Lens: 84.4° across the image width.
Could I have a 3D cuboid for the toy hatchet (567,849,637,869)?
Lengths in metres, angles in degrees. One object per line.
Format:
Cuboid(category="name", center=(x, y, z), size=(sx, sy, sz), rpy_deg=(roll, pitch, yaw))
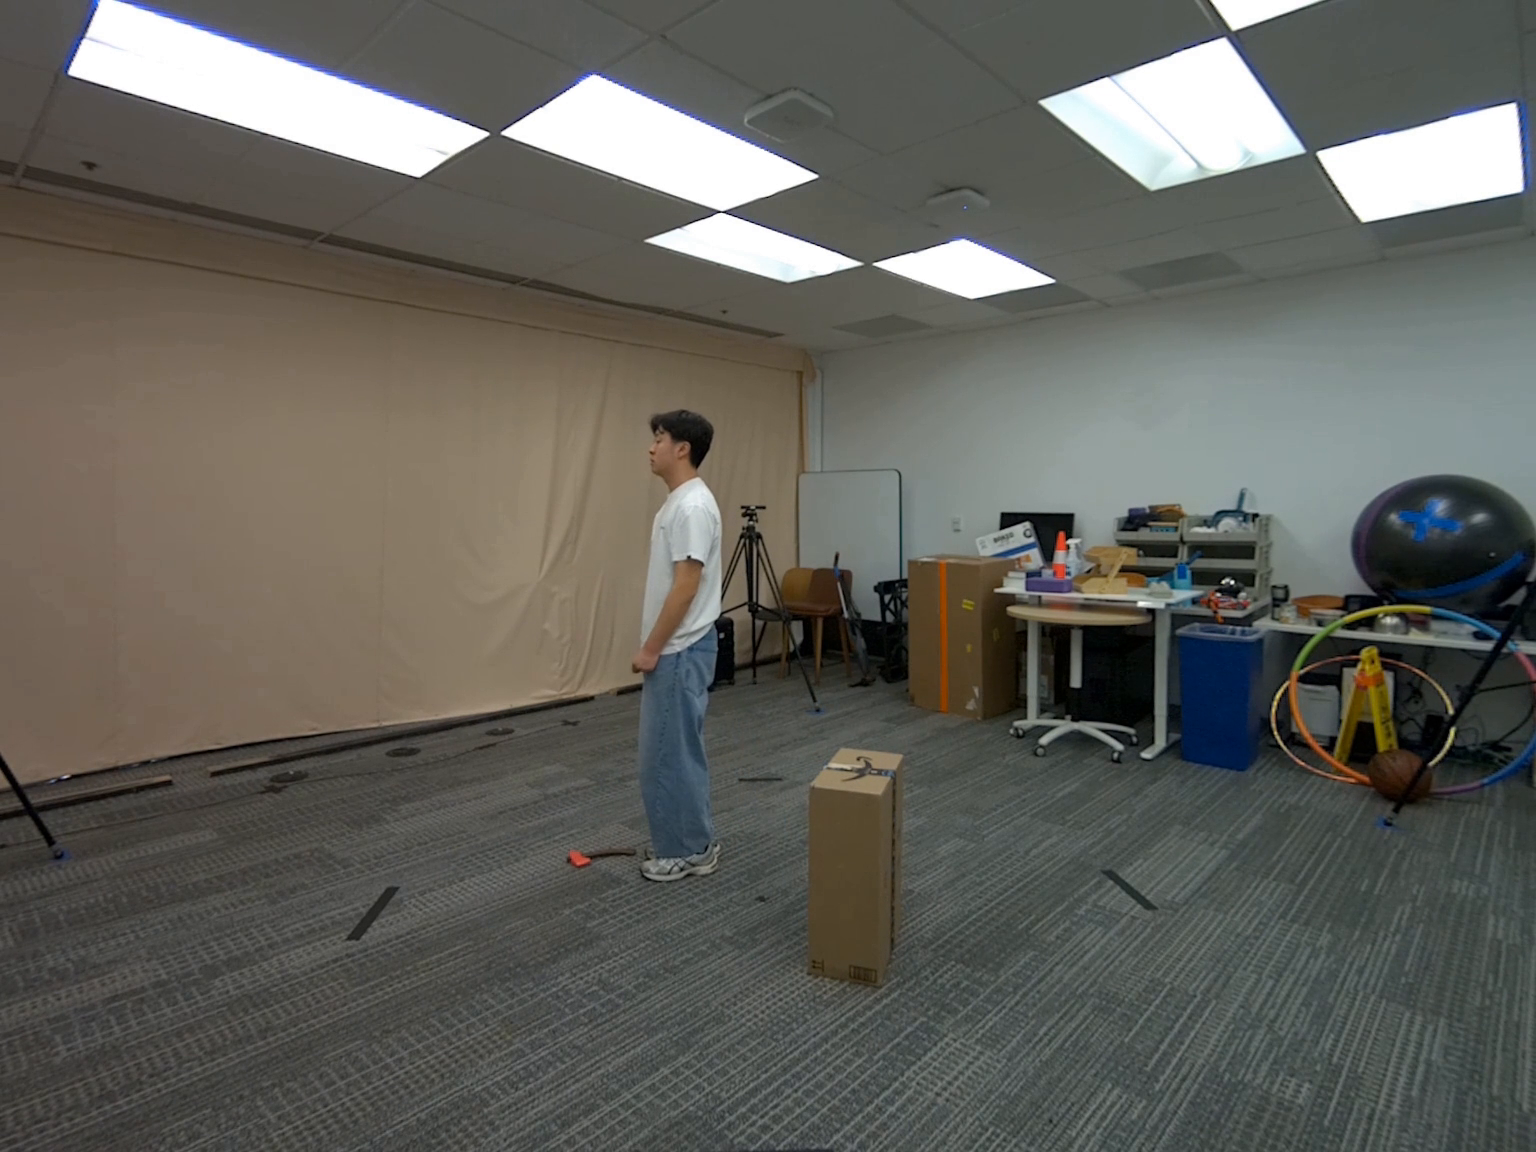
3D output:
Cuboid(category="toy hatchet", center=(-0.658, 1.115, 3.321), size=(0.269, 0.029, 0.132), rpy_deg=(0, 5, -5))
